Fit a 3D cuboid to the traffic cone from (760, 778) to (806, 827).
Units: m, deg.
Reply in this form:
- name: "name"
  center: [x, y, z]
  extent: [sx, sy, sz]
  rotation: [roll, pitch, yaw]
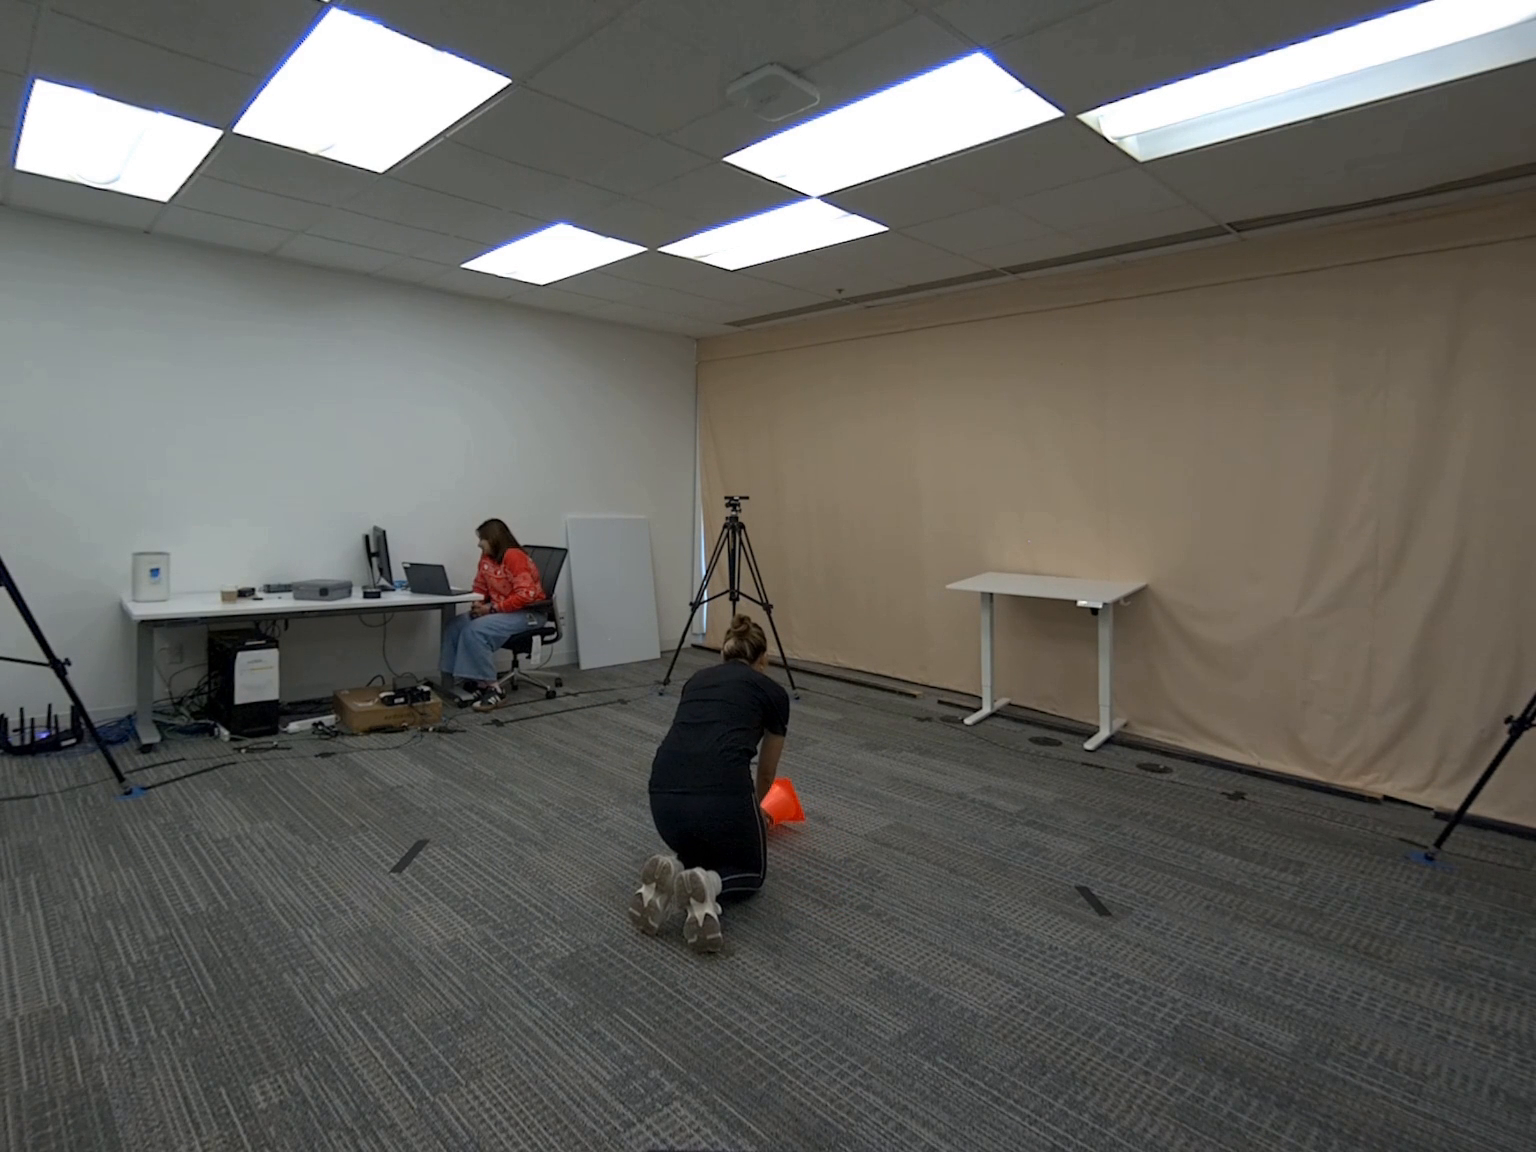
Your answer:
- name: "traffic cone"
  center: [-0.075, 1.013, 3.453]
  extent: [0.379, 0.203, 0.208]
  rotation: [-24, 2, -43]
